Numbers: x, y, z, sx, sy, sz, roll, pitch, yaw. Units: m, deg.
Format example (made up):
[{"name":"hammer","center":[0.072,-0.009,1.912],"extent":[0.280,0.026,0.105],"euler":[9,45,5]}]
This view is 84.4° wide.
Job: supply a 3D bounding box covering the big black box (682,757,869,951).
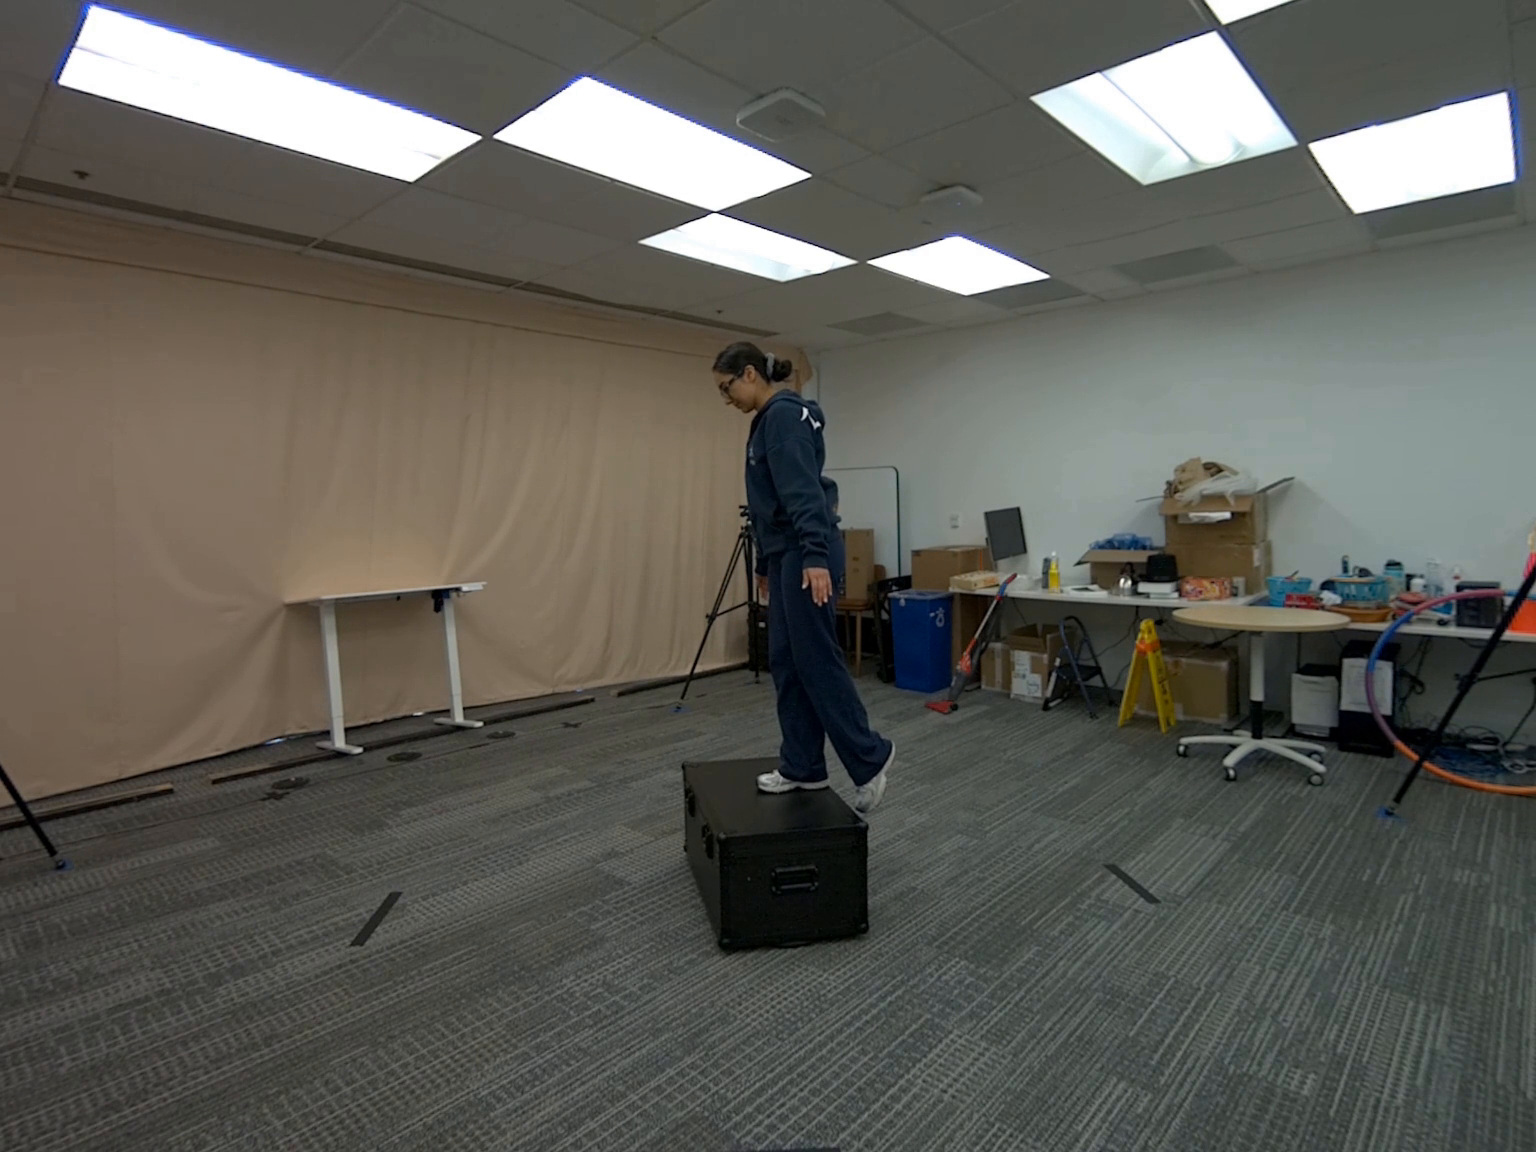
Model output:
[{"name":"big black box","center":[-0.014,0.947,3.044],"extent":[0.515,0.395,0.875],"euler":[-2,5,-13]}]
